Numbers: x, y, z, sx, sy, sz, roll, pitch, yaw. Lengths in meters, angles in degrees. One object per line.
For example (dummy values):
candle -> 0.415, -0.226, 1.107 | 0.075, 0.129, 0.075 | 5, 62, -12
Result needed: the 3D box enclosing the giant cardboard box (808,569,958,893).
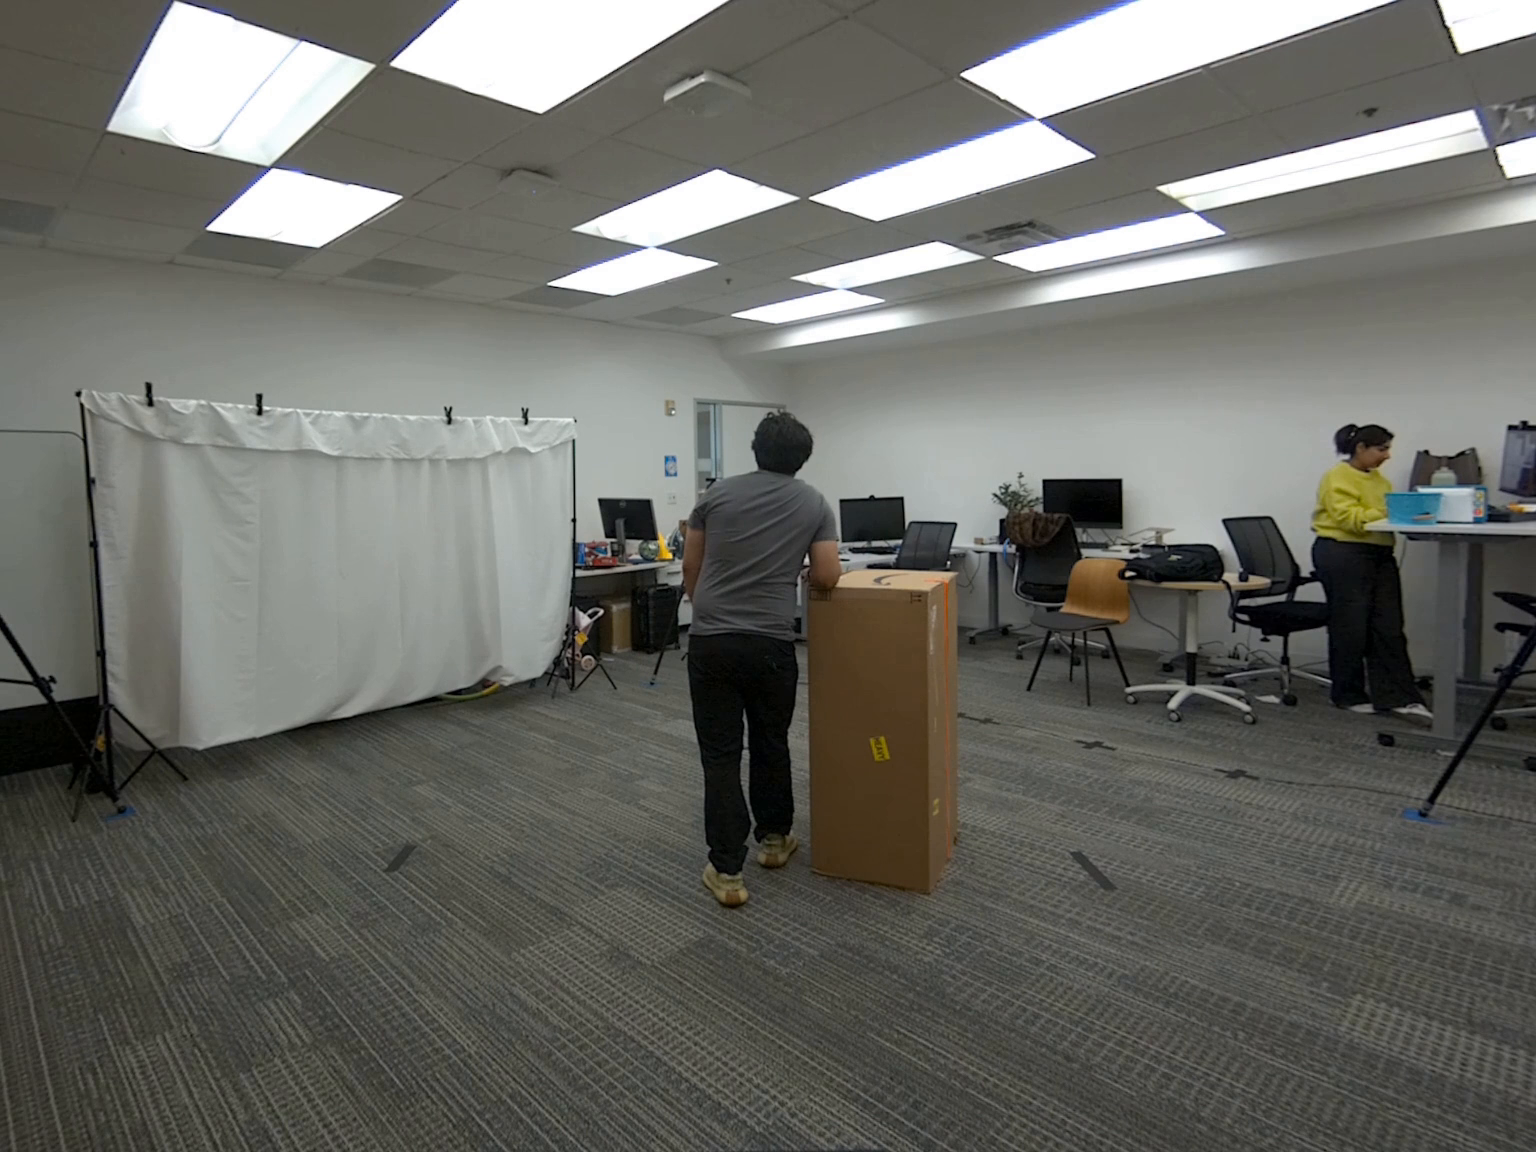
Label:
giant cardboard box -> 0.445, 0.520, 3.167 | 0.436, 1.022, 0.566 | 0, 4, 25
